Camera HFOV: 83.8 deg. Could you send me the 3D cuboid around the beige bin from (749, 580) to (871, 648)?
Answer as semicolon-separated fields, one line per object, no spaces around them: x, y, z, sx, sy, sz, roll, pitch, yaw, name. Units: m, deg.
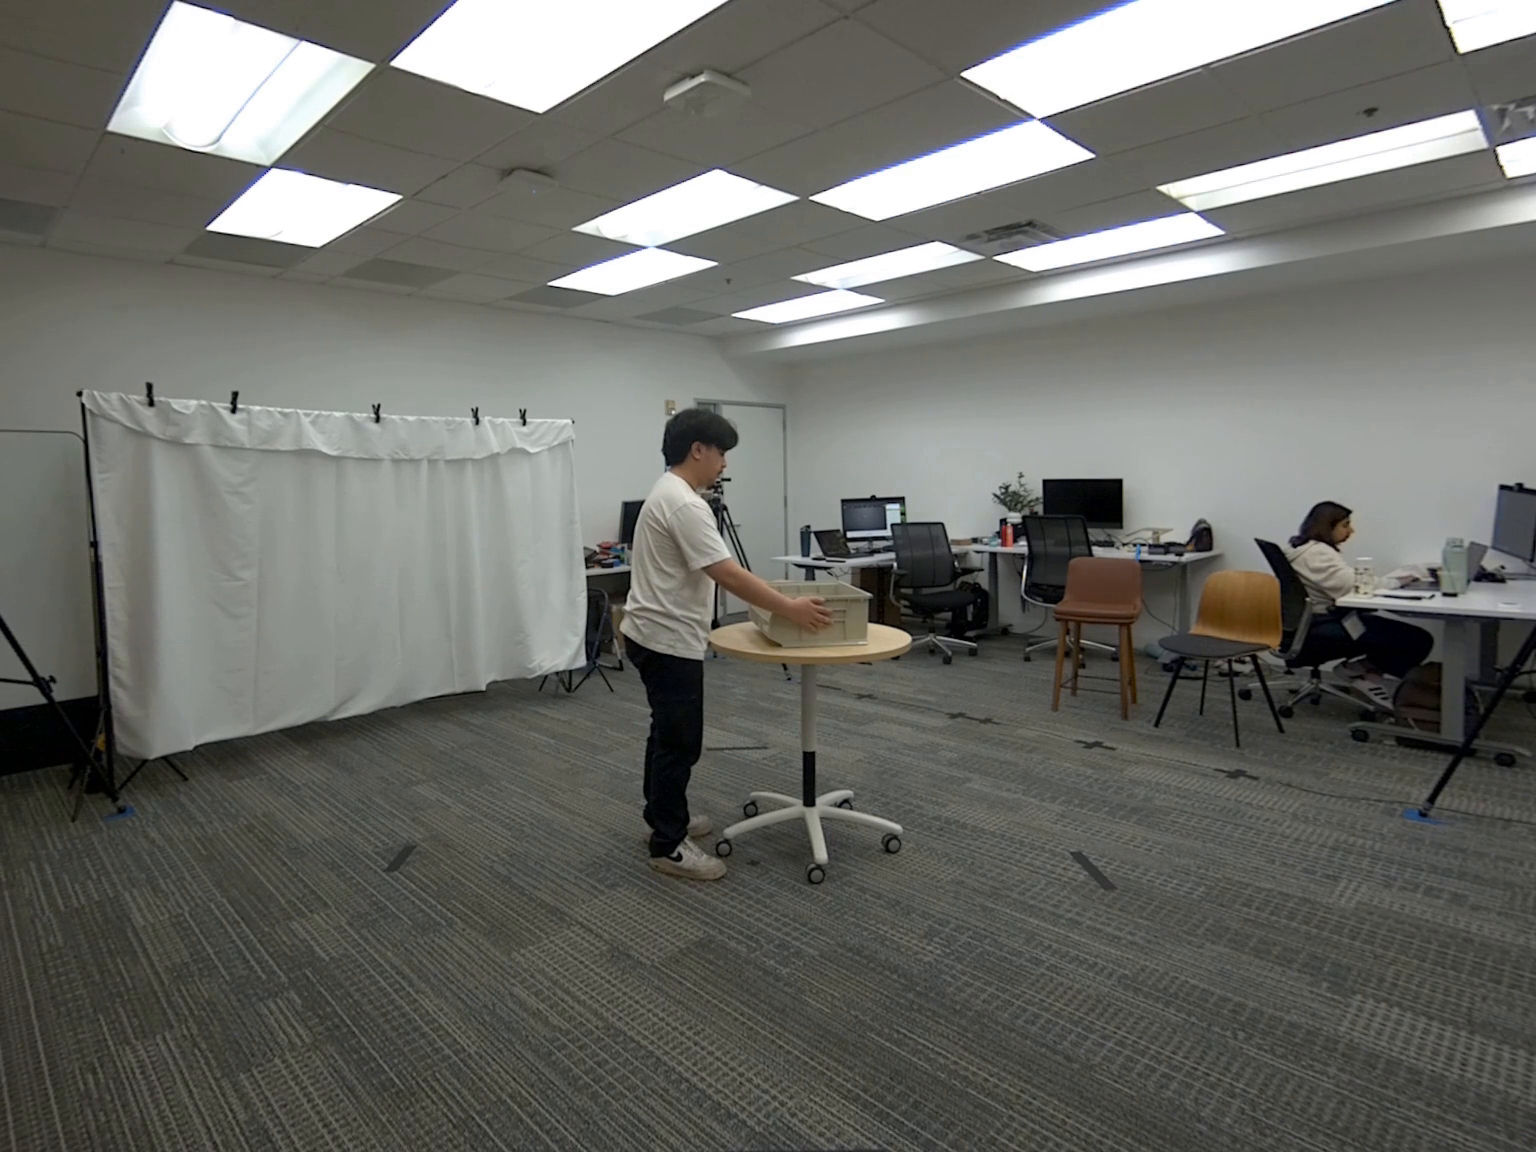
0.152;0.136;3.216;0.374;0.188;0.428;-1;5;-11;beige bin
